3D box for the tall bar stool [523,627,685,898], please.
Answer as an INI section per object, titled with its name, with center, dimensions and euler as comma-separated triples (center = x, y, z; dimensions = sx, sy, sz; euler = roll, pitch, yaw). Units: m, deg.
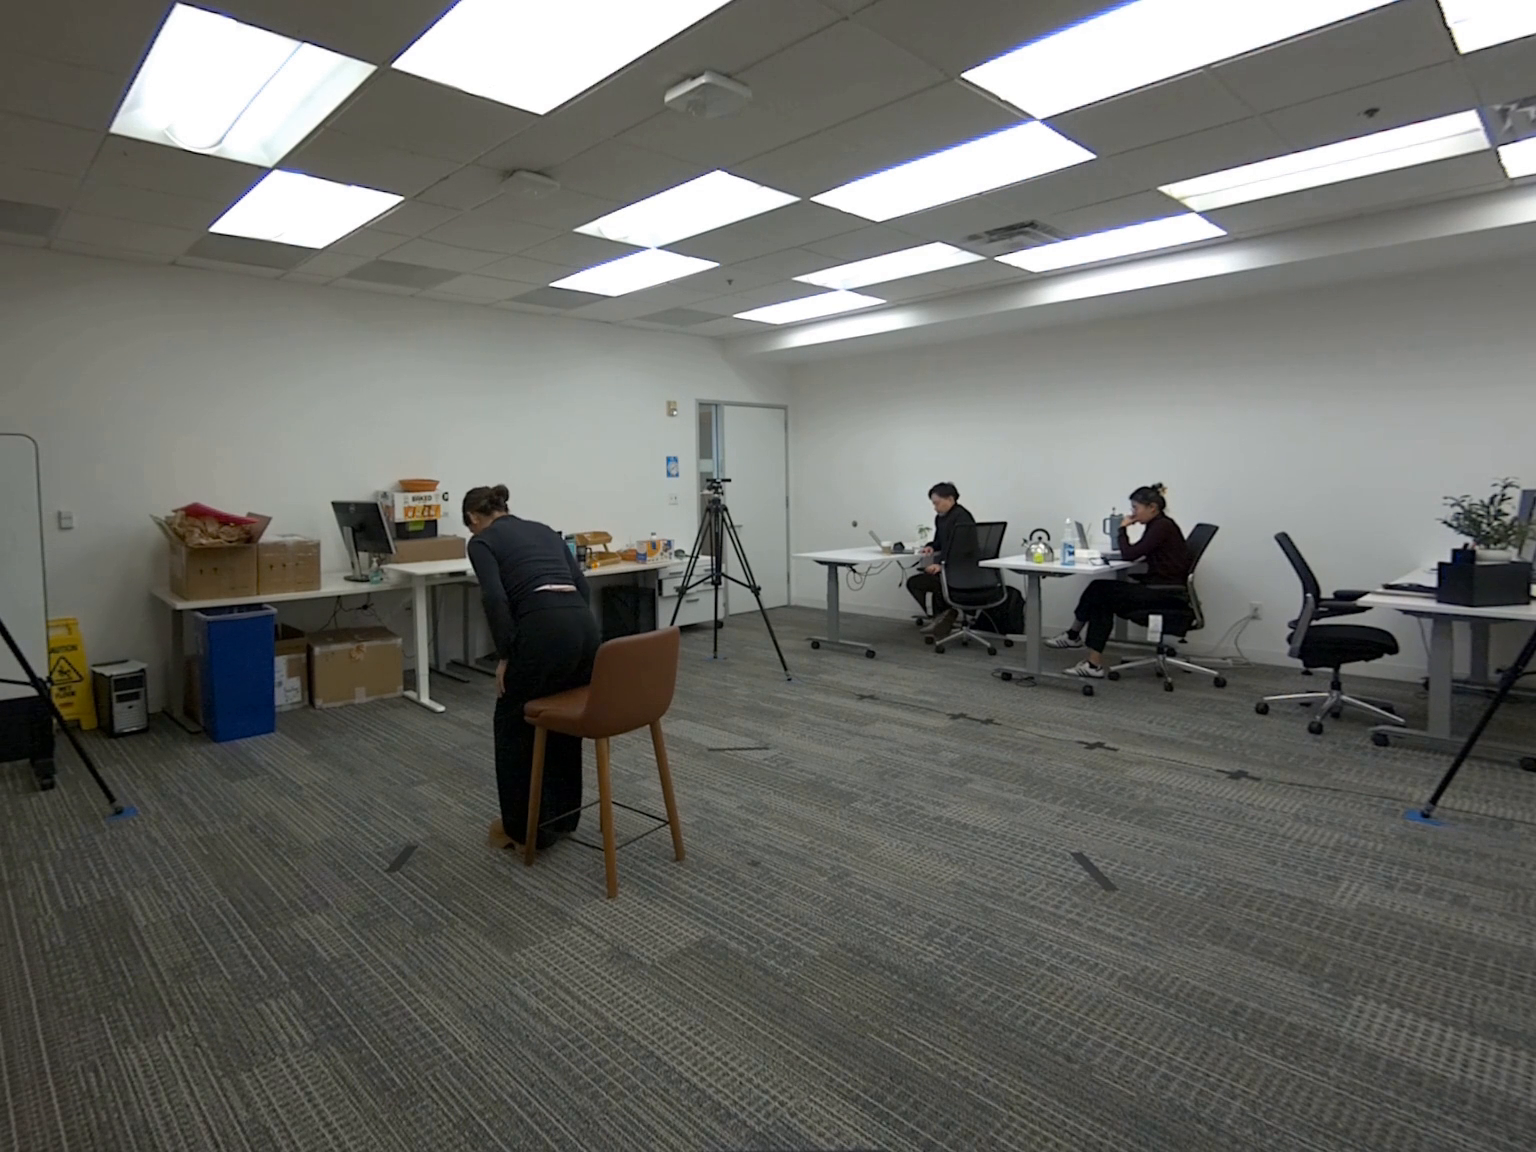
[tall bar stool]
center = -0.597, 0.619, 3.111
dimensions = 0.481, 0.886, 0.445
euler = 3, 6, 37
